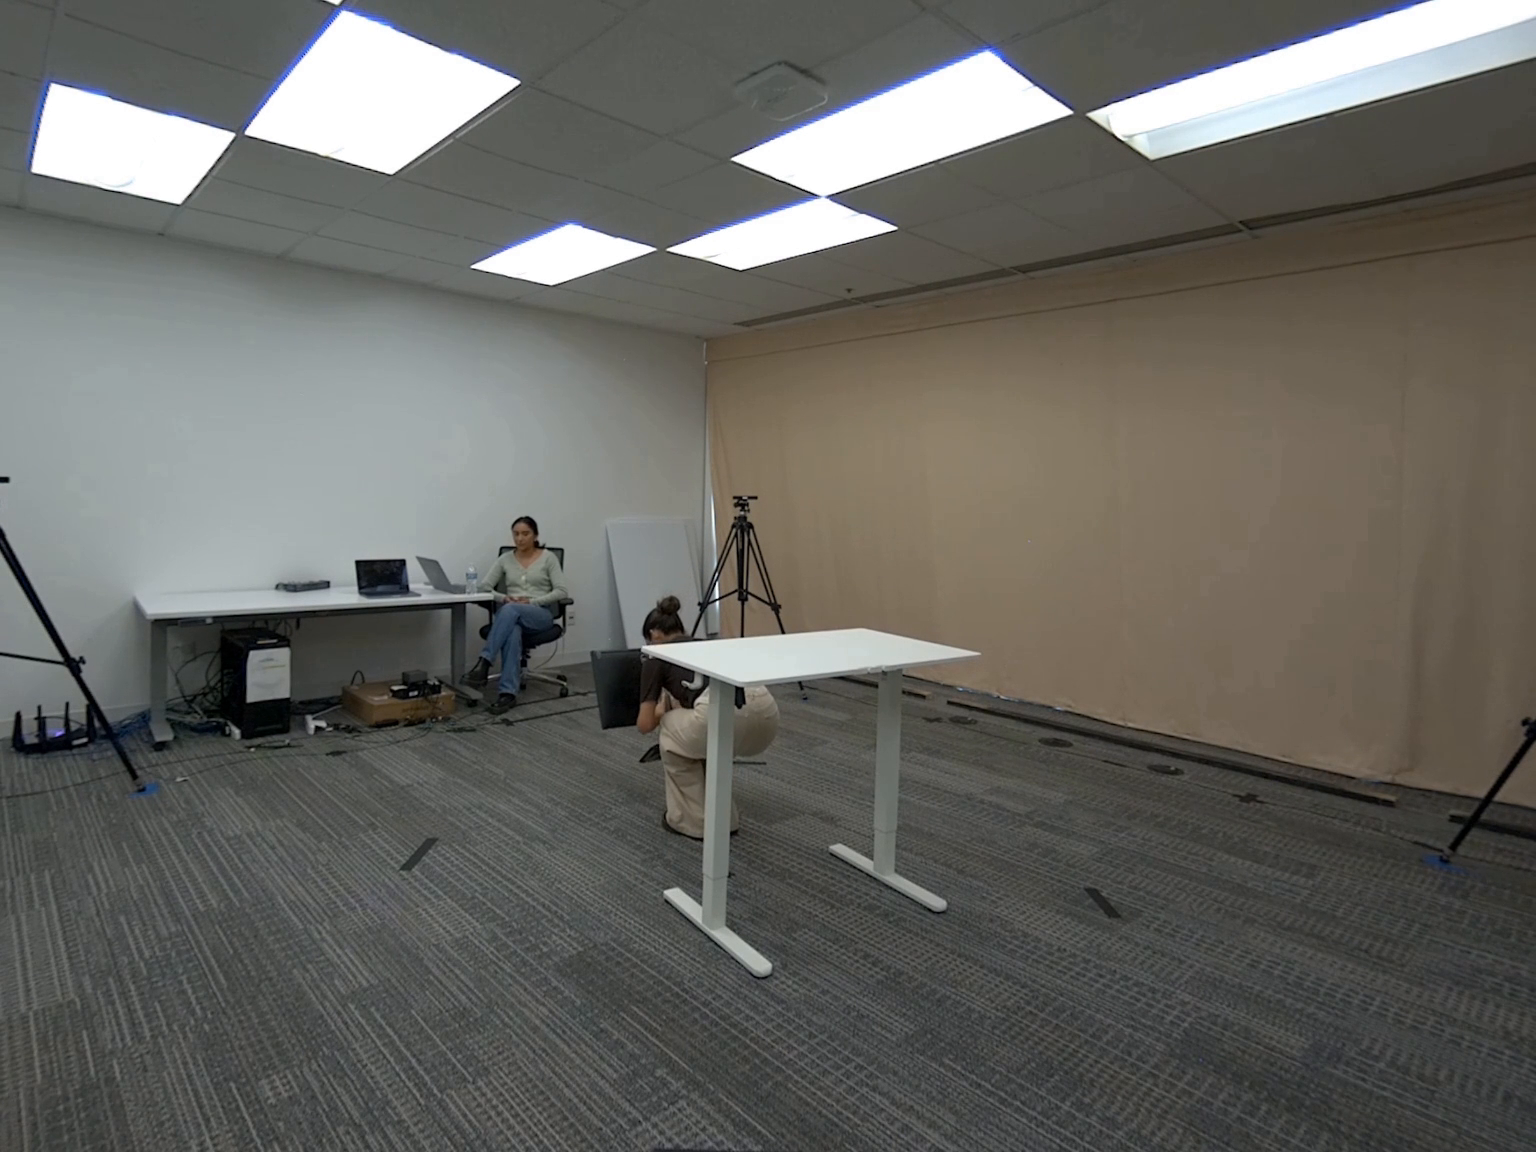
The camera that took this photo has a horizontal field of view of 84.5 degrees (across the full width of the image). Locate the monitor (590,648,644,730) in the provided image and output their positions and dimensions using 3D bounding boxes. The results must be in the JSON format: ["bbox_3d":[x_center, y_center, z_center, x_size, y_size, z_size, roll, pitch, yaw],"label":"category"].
[{"bbox_3d":[-0.511,0.566,3.843,0.525,0.535,0.187,4,-37,-43],"label":"monitor"}]
